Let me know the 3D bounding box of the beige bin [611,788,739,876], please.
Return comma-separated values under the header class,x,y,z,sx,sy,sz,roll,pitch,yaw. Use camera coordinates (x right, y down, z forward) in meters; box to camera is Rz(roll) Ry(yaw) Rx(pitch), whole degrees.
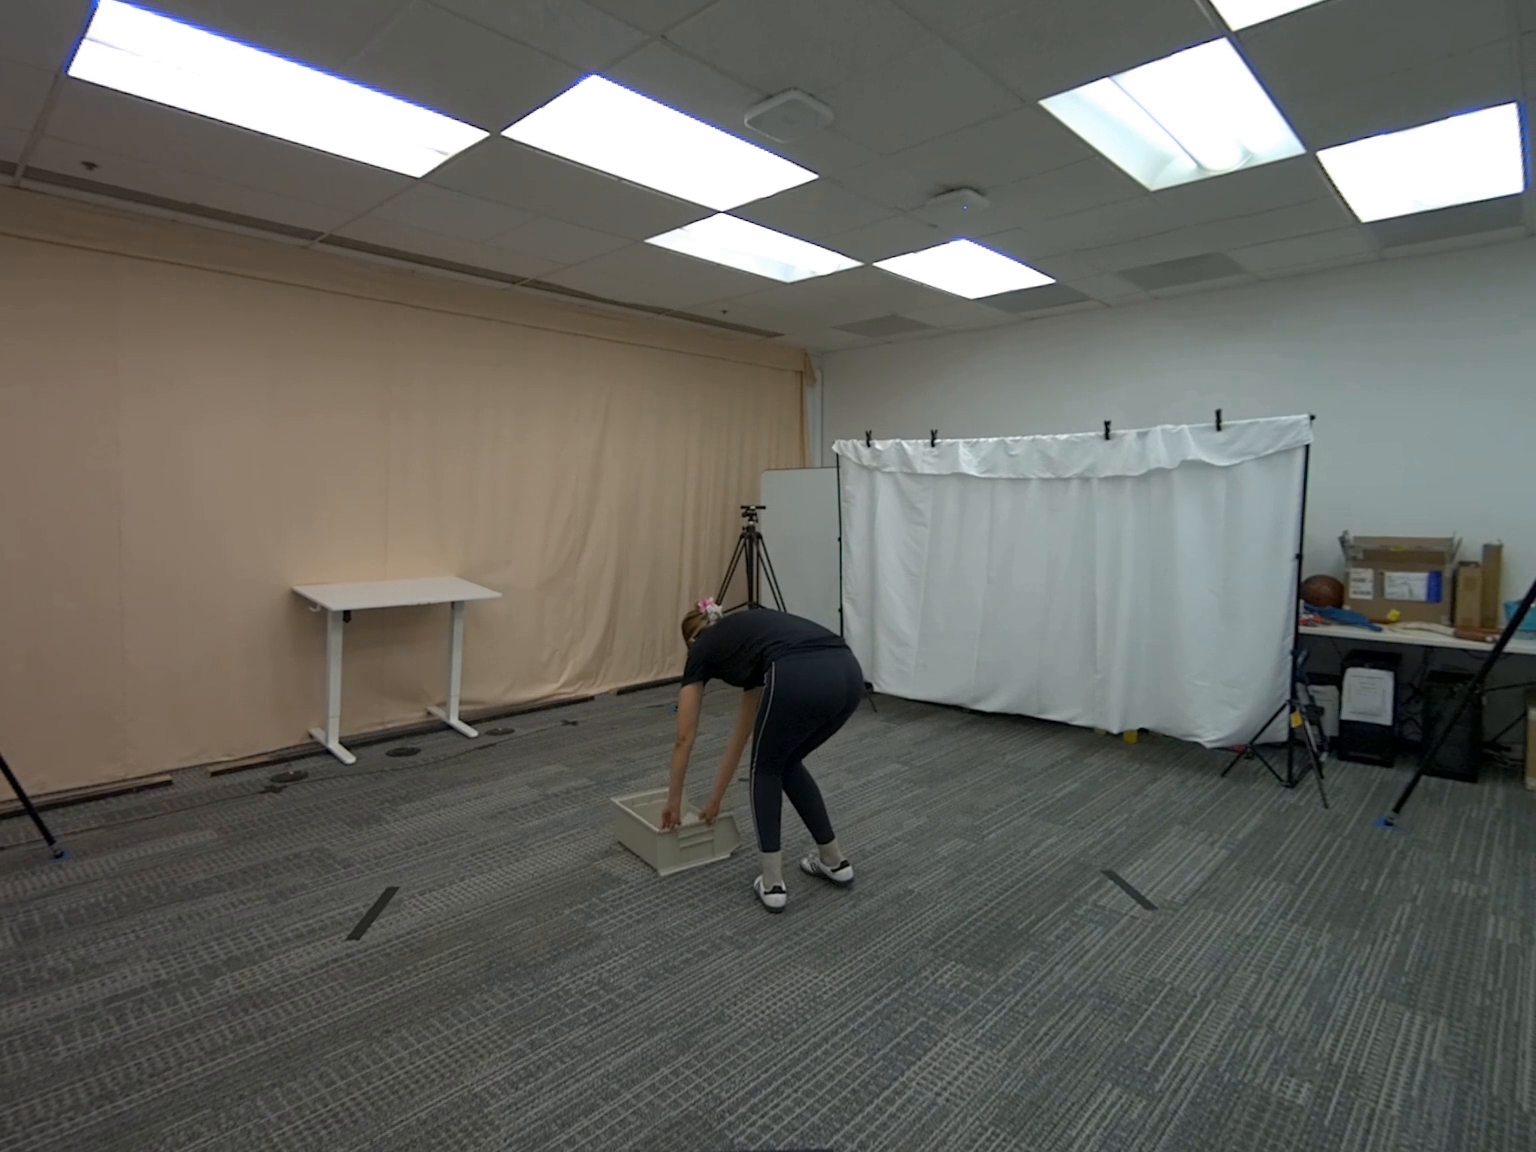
class,x,y,z,sx,sy,sz,roll,pitch,yaw
beige bin,-0.383,1.018,3.434,0.367,0.188,0.436,-5,8,-34
